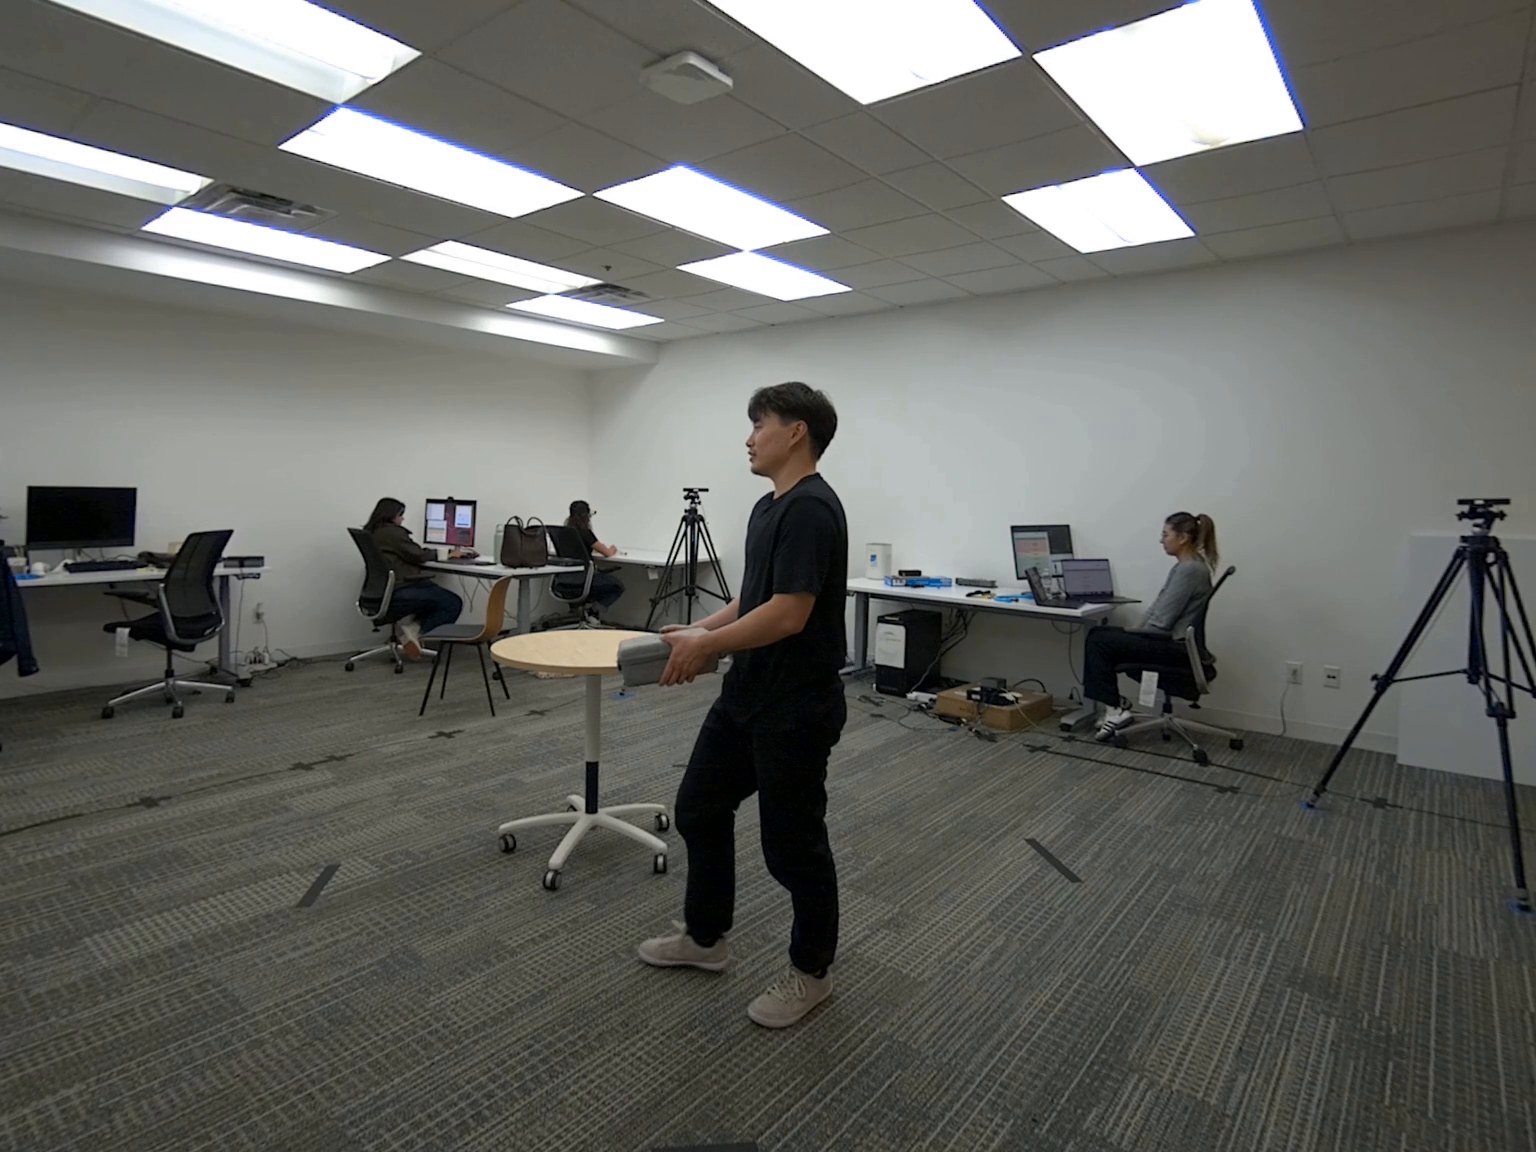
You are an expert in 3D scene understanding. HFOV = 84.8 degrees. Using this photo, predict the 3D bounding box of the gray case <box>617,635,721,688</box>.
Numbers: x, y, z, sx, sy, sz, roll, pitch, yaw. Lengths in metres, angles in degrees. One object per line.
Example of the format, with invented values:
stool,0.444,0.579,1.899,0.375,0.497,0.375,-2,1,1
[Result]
gray case,-0.276,0.205,2.267,0.259,0.104,0.259,-7,1,-9
